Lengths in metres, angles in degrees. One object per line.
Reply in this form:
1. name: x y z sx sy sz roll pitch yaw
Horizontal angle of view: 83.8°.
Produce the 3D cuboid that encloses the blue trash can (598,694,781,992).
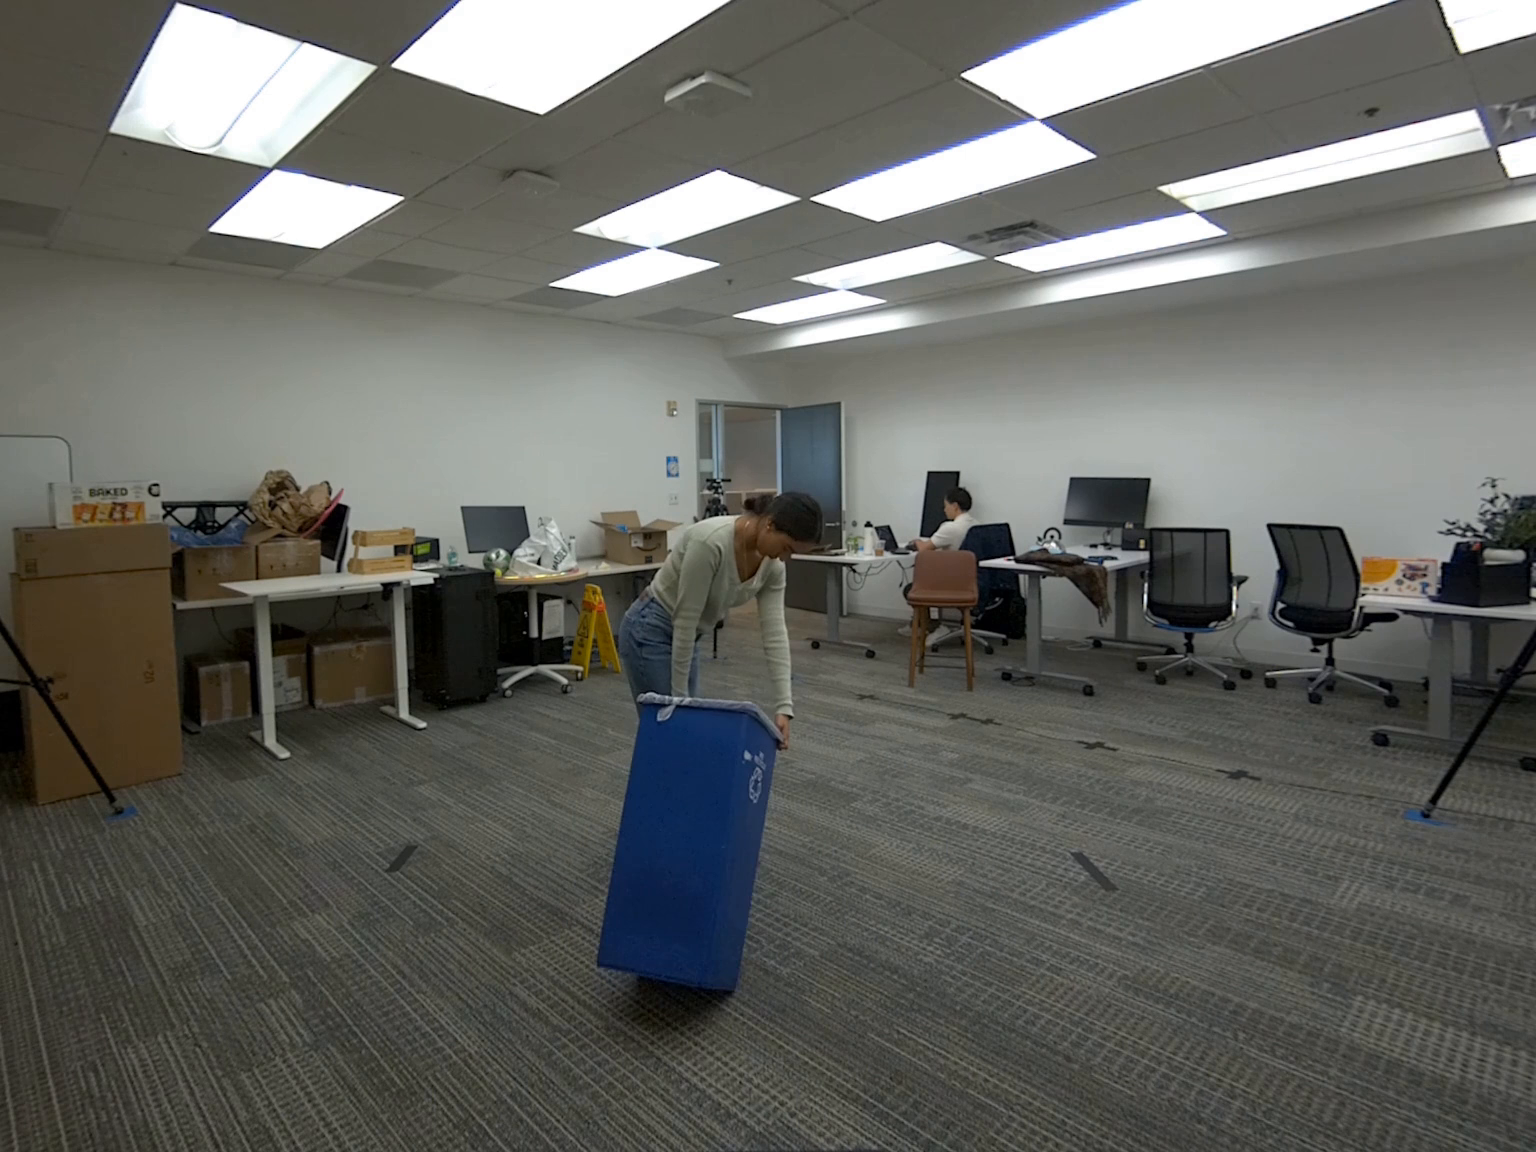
1. blue trash can: -0.207 0.749 2.426 0.385 0.726 0.361 1 -26 17
